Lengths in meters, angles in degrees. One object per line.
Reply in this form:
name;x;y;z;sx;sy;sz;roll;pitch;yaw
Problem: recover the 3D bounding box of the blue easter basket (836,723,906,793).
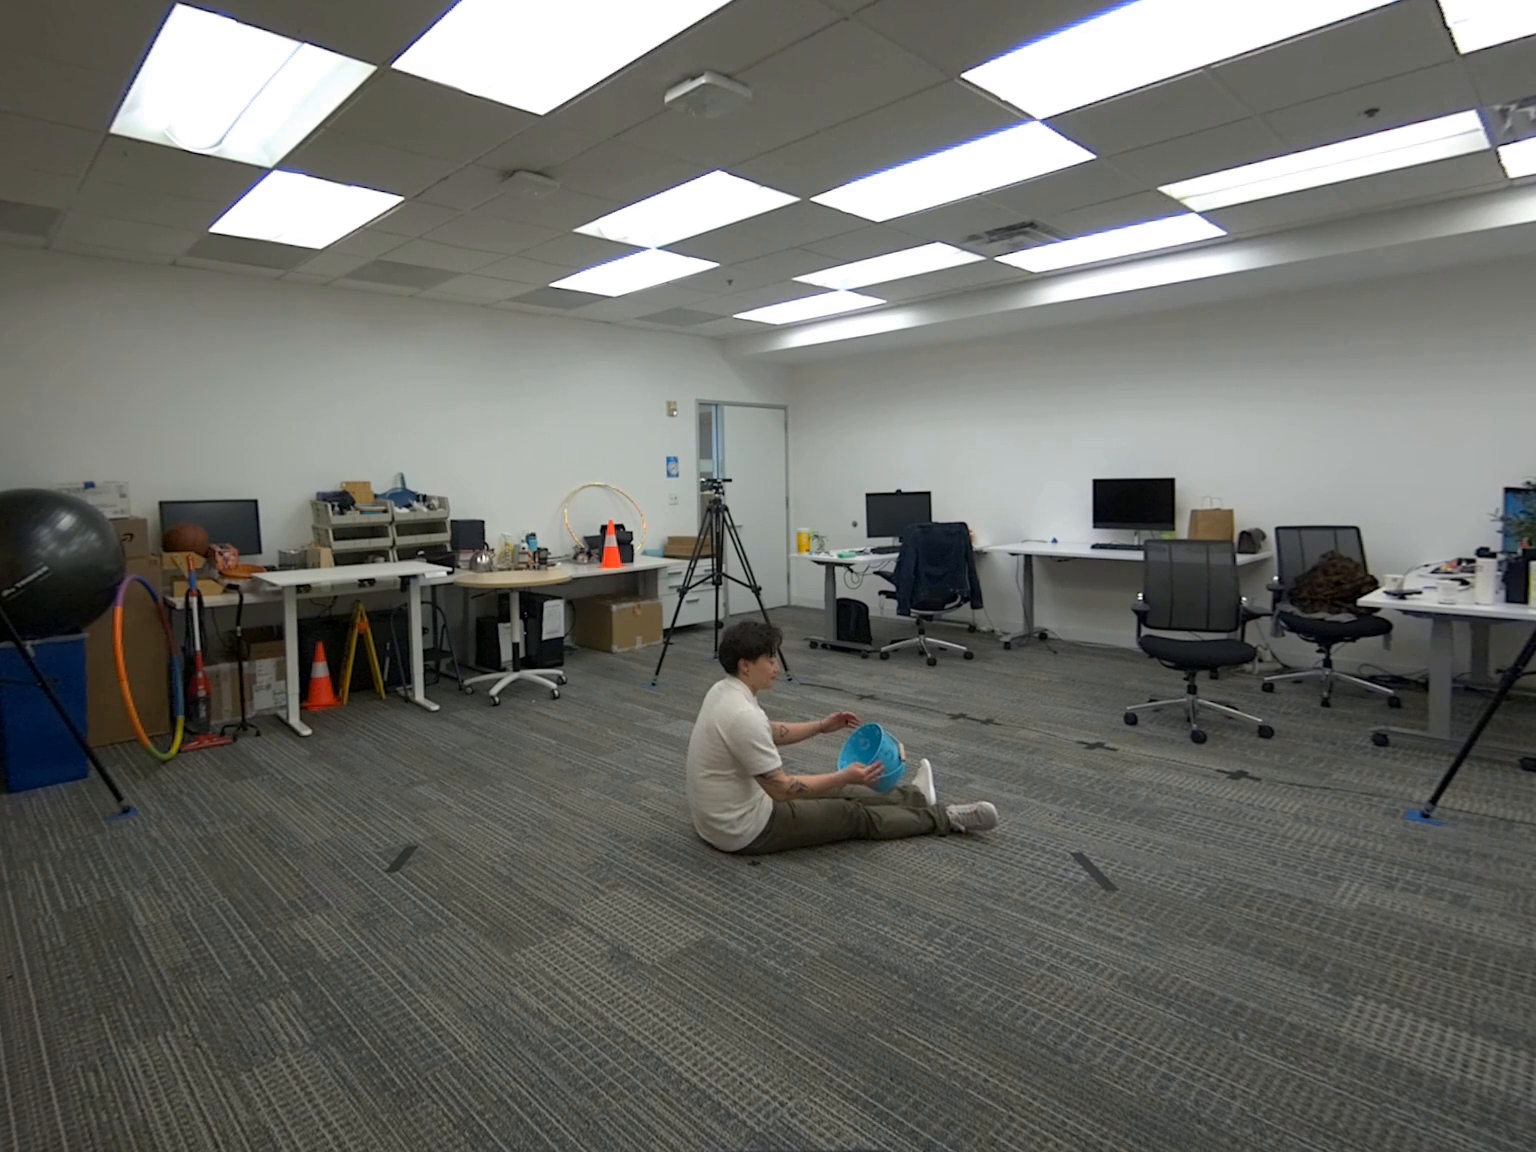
blue easter basket;0.395;0.697;3.209;0.153;0.244;0.248;38;-7;-17
